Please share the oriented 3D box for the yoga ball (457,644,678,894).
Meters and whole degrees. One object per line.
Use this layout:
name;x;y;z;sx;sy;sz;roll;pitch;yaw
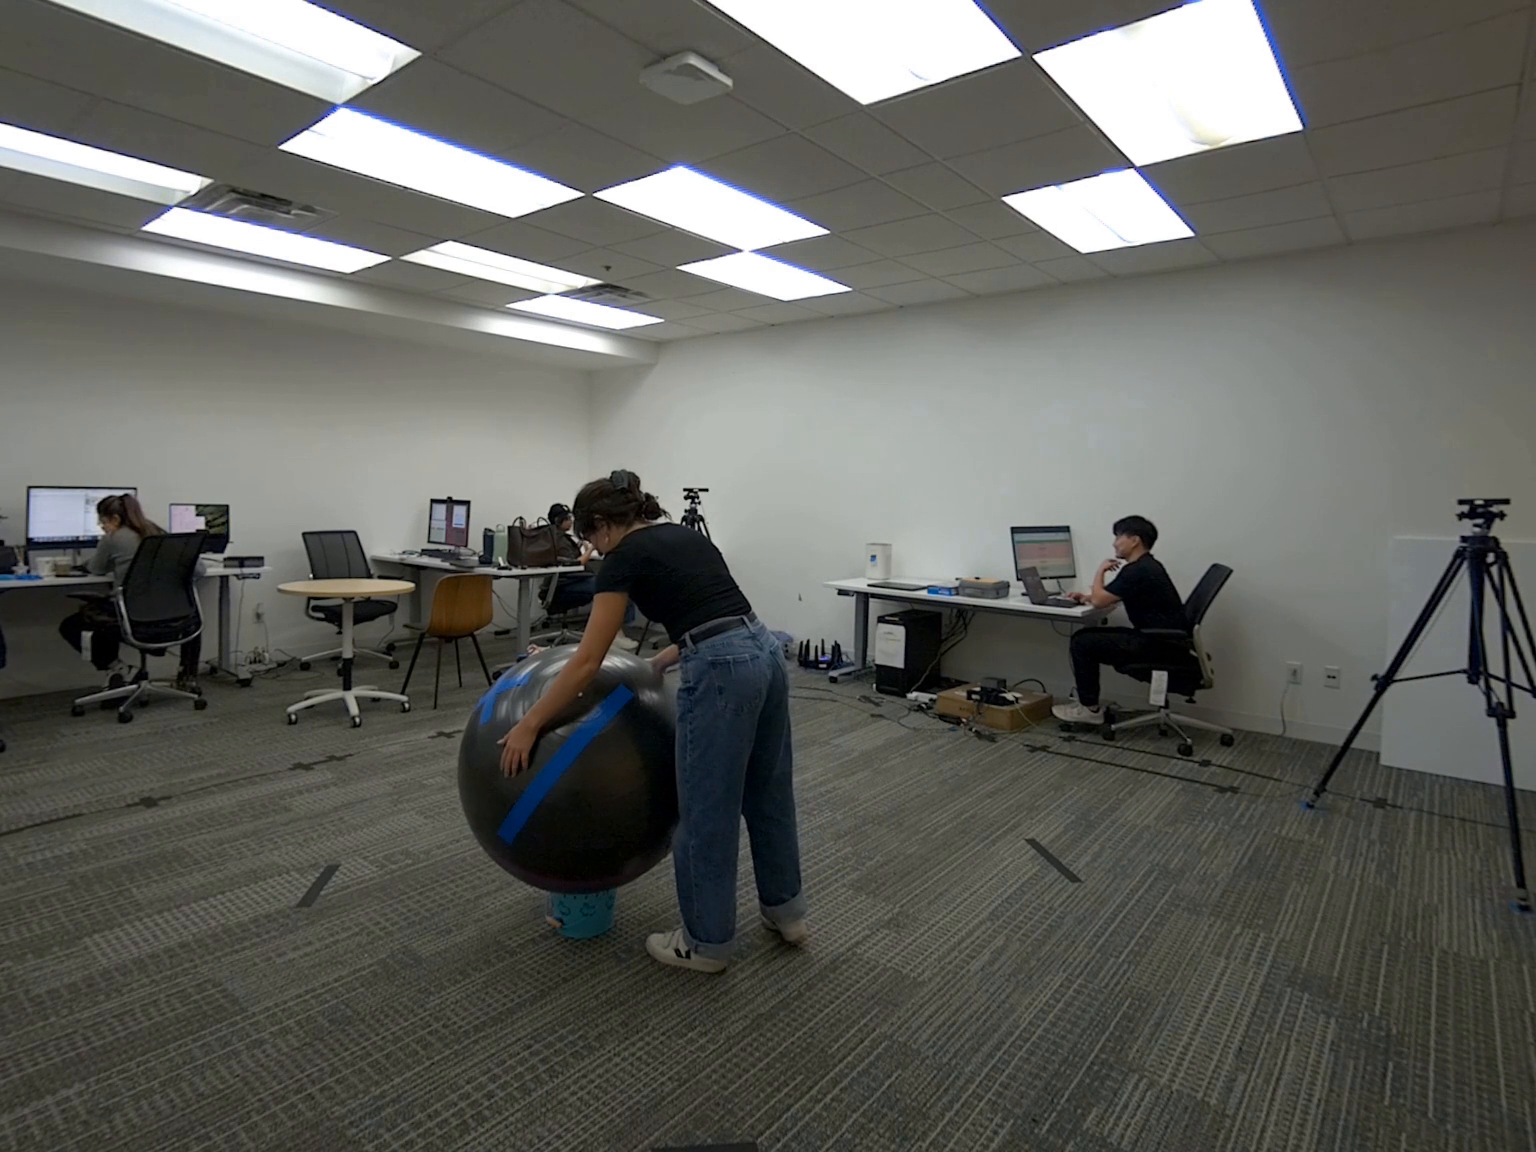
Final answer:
yoga ball;-0.593;0.601;2.682;0.757;0.755;0.762;1;4;-2
